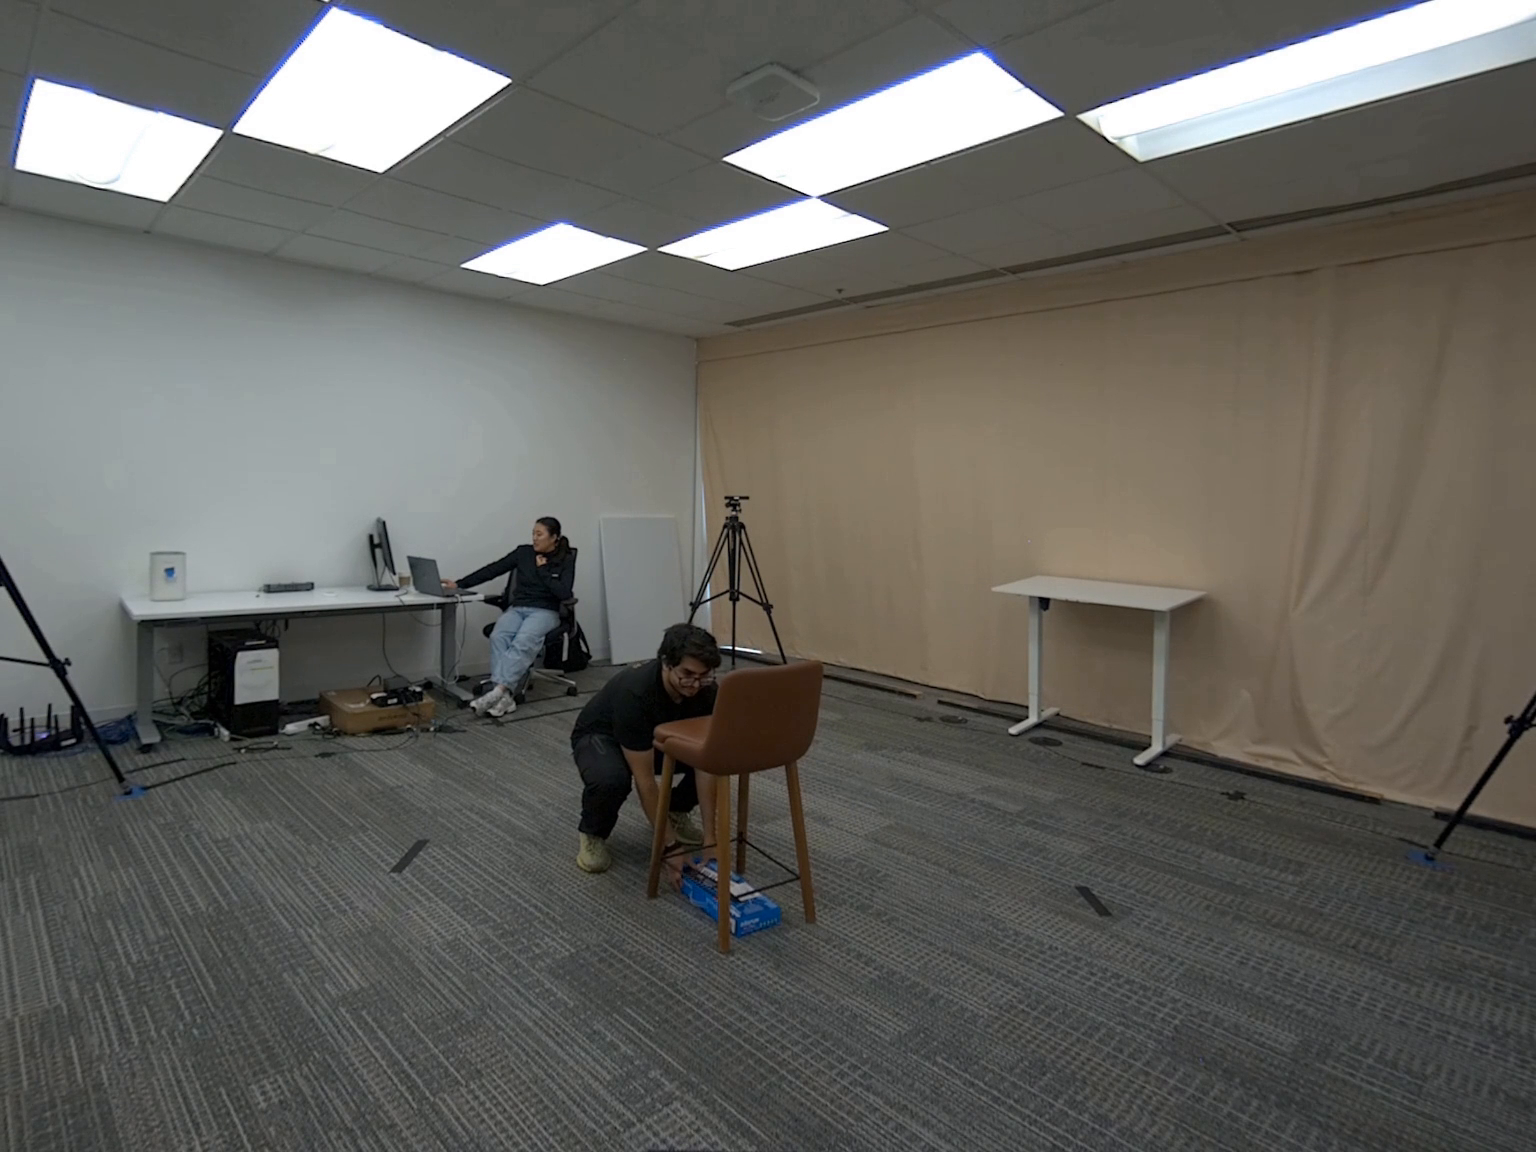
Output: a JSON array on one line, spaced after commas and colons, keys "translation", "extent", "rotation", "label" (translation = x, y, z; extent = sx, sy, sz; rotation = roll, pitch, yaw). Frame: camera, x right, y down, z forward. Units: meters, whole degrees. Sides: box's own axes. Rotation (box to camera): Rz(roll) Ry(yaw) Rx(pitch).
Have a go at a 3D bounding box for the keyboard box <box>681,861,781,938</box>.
[{"translation": [-0.164, 1.093, 2.878], "extent": [0.172, 0.059, 0.448], "rotation": [-2, 7, -35], "label": "keyboard box"}]
